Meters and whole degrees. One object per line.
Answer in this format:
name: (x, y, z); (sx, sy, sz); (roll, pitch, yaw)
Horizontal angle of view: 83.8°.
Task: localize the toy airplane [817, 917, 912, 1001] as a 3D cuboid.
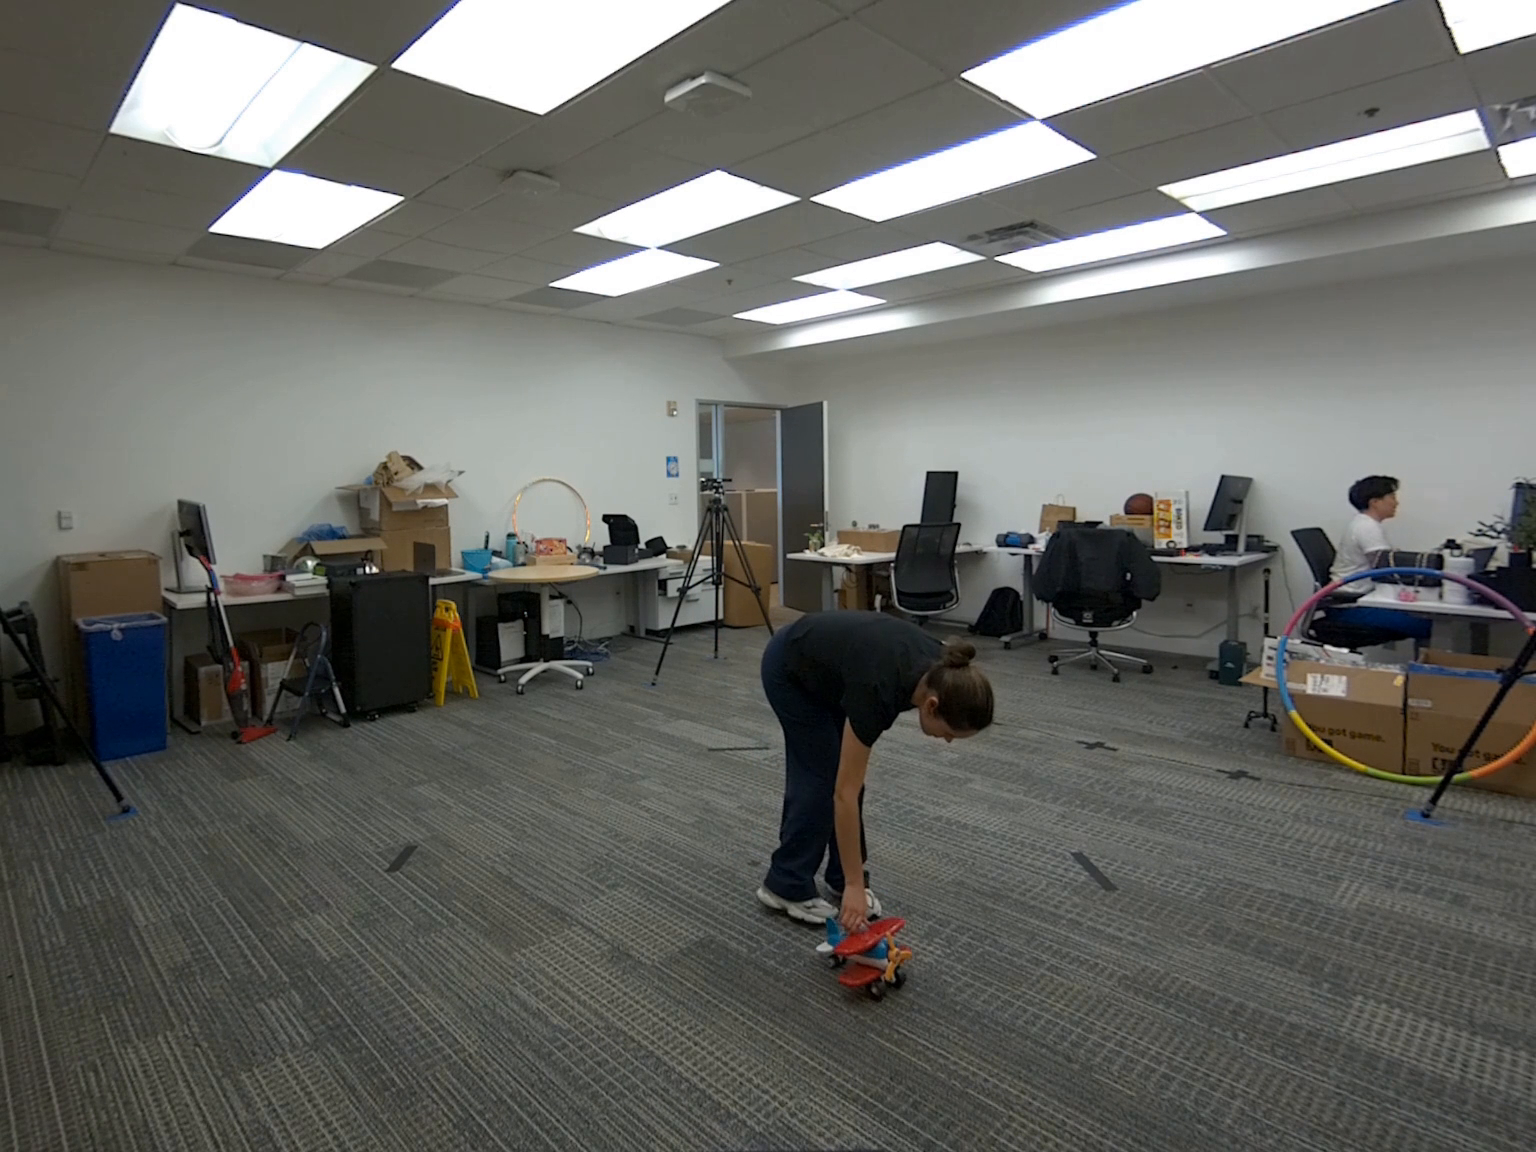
toy airplane: (0.256, 1.054, 2.382); (0.264, 0.156, 0.247); (2, 6, 20)
